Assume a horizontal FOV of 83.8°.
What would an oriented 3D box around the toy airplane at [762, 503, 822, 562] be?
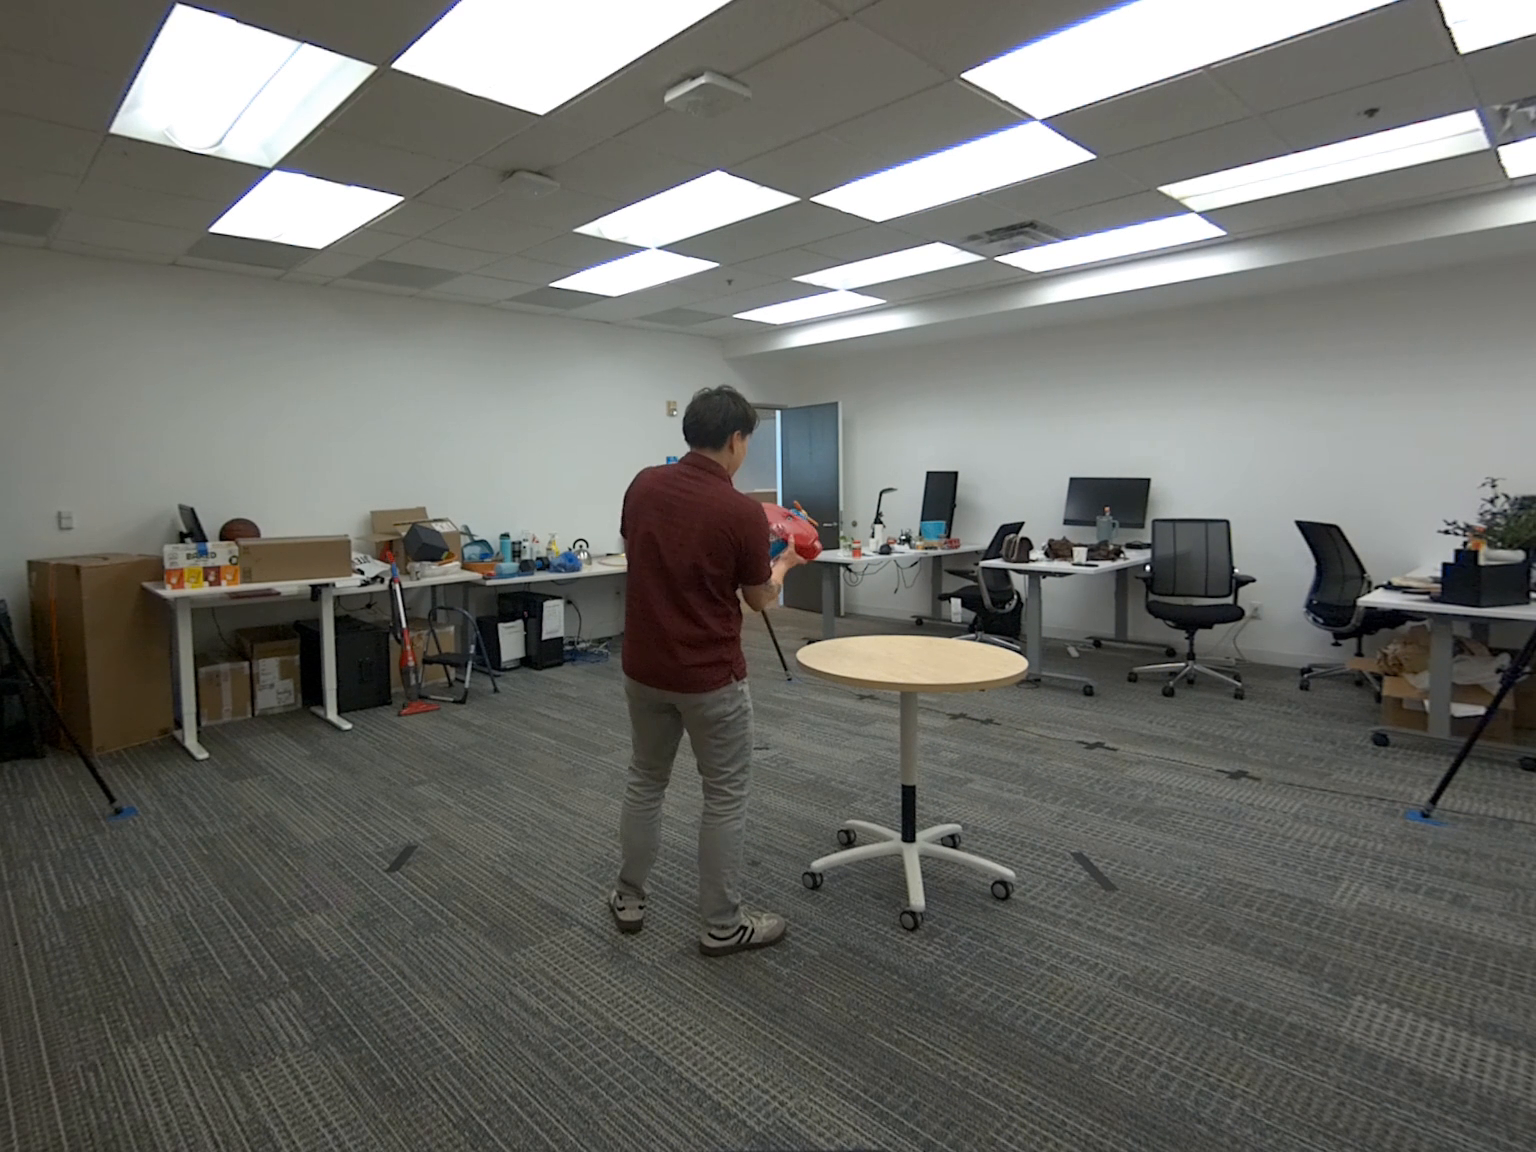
[{"bbox_3d":[0.052,-0.098,2.872,0.255,0.152,0.263,10,47,13],"label":"toy airplane"}]
